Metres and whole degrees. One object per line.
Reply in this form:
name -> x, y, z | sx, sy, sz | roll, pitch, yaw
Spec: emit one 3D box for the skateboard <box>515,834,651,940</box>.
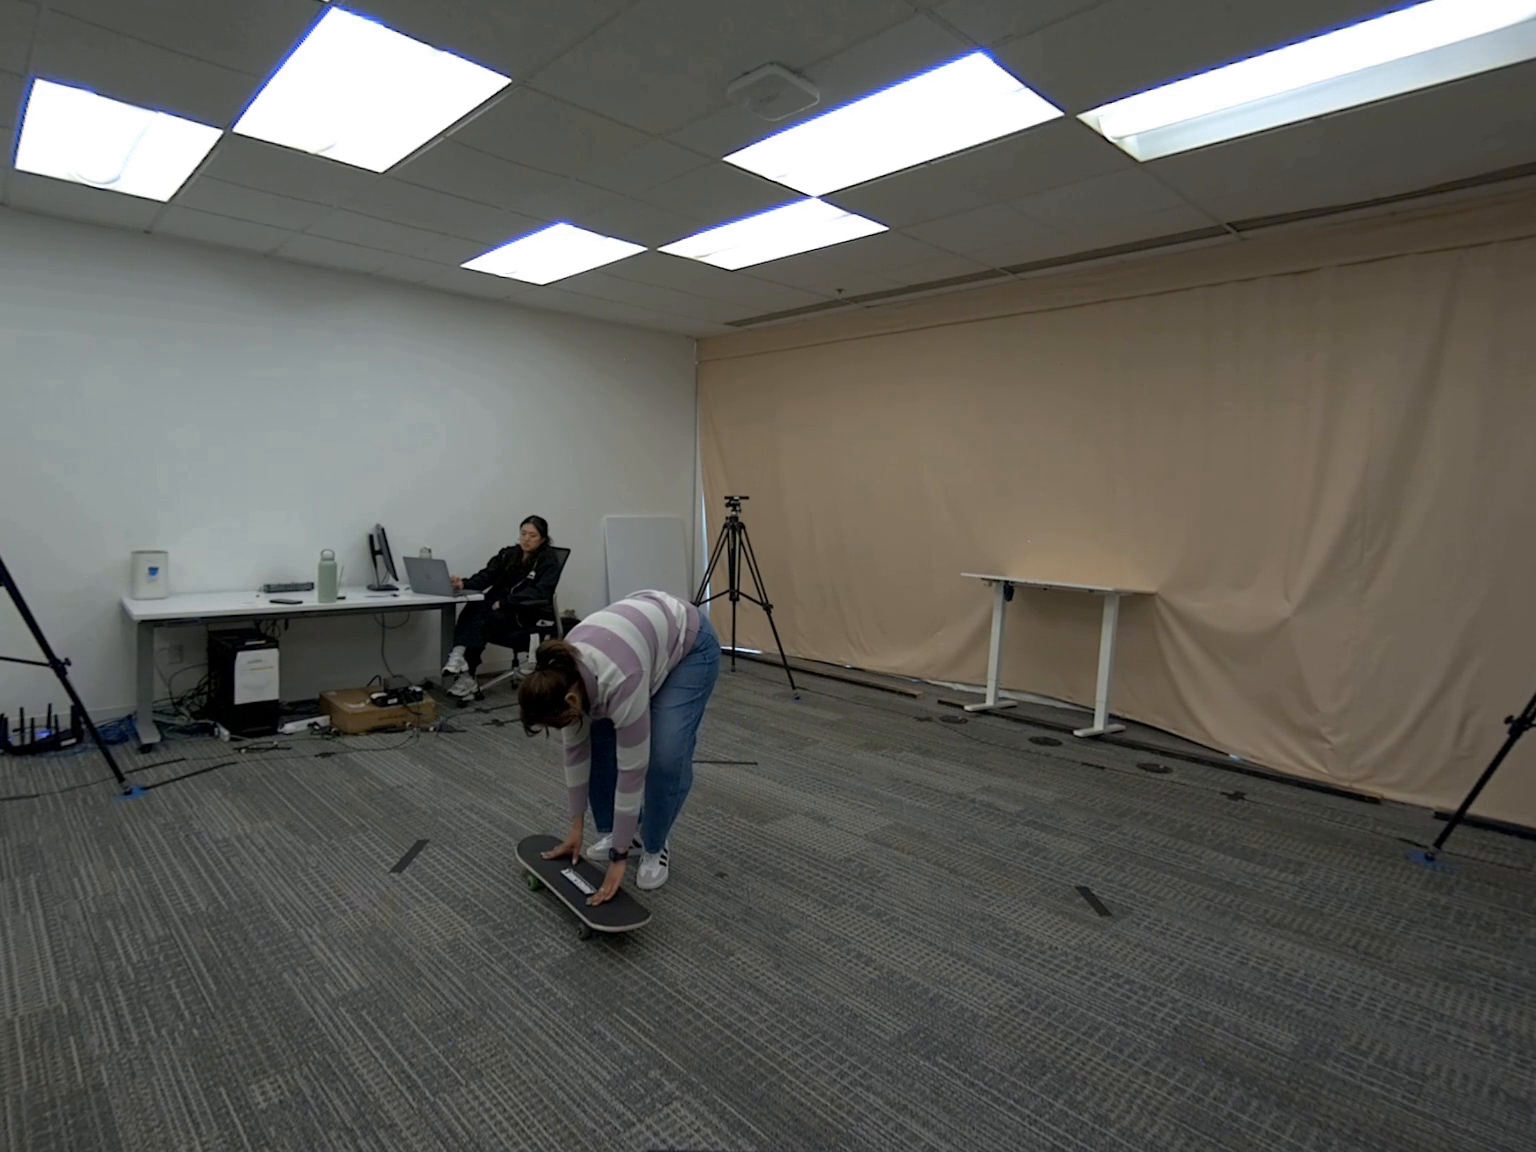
skateboard -> -0.642, 1.060, 2.842 | 0.189, 0.110, 0.805 | -3, 7, -37
